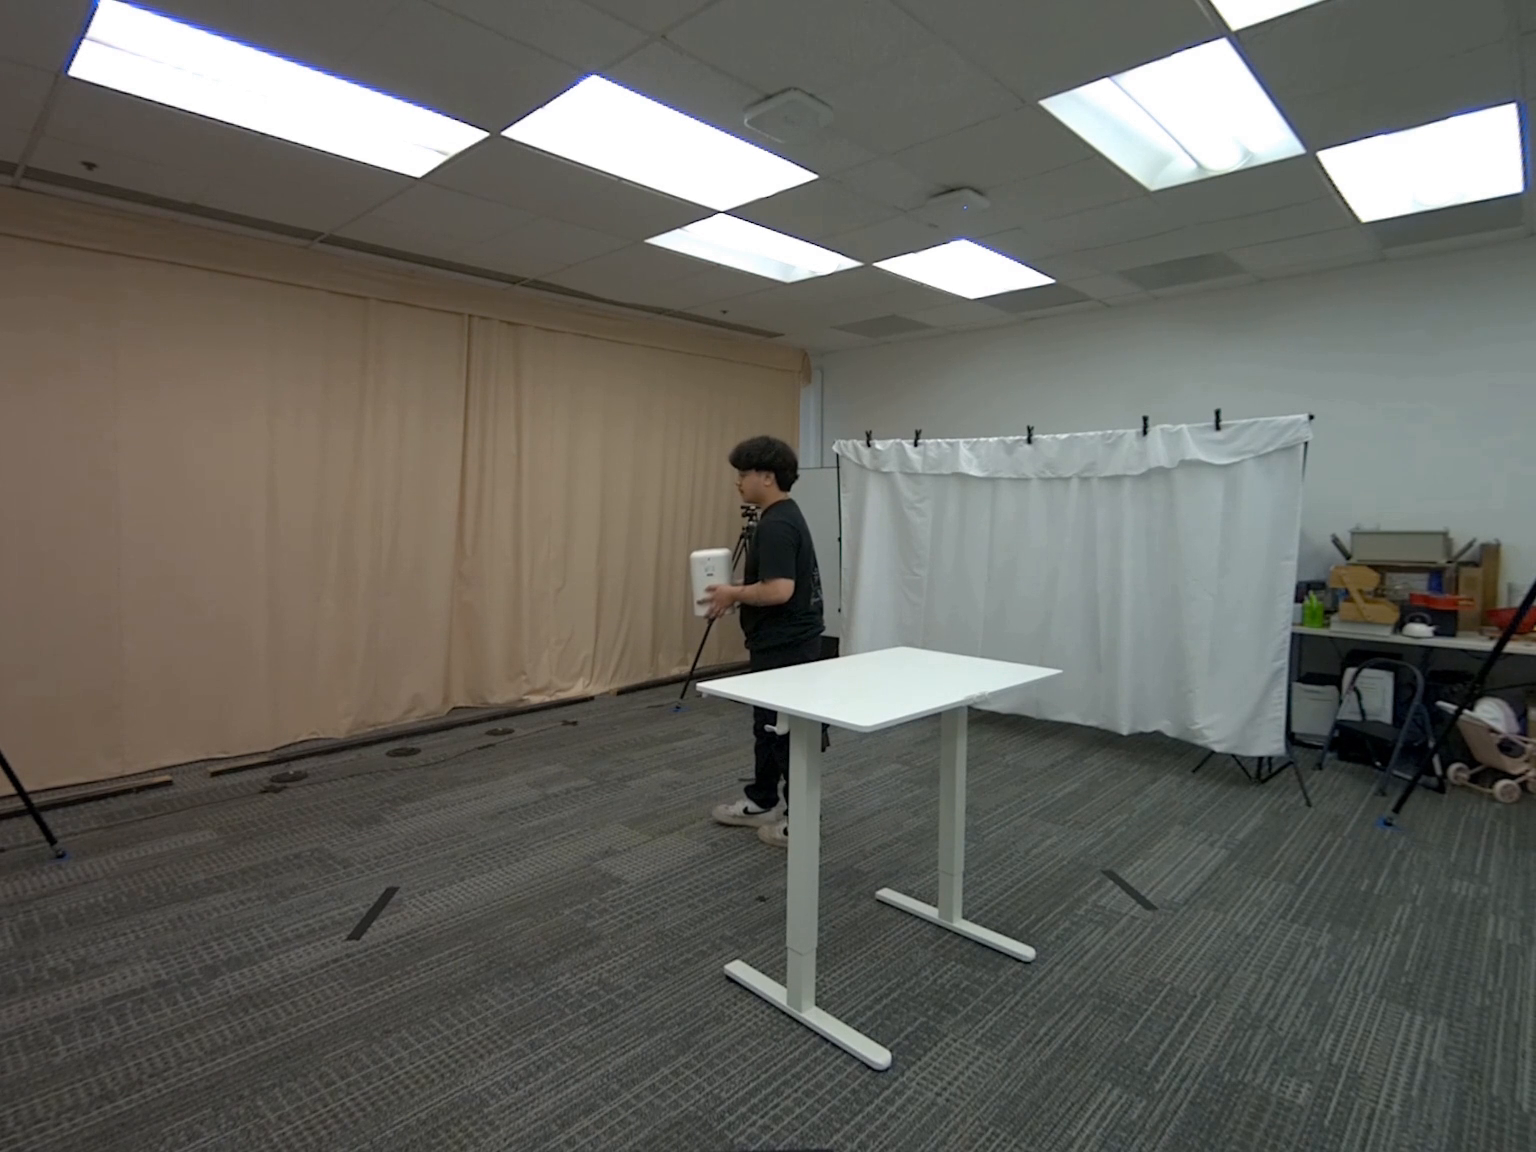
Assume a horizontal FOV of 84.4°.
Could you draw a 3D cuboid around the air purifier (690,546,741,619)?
[{"bbox_3d":[-0.219,0.021,3.483,0.170,0.264,0.173,-5,5,-5],"label":"air purifier"}]
